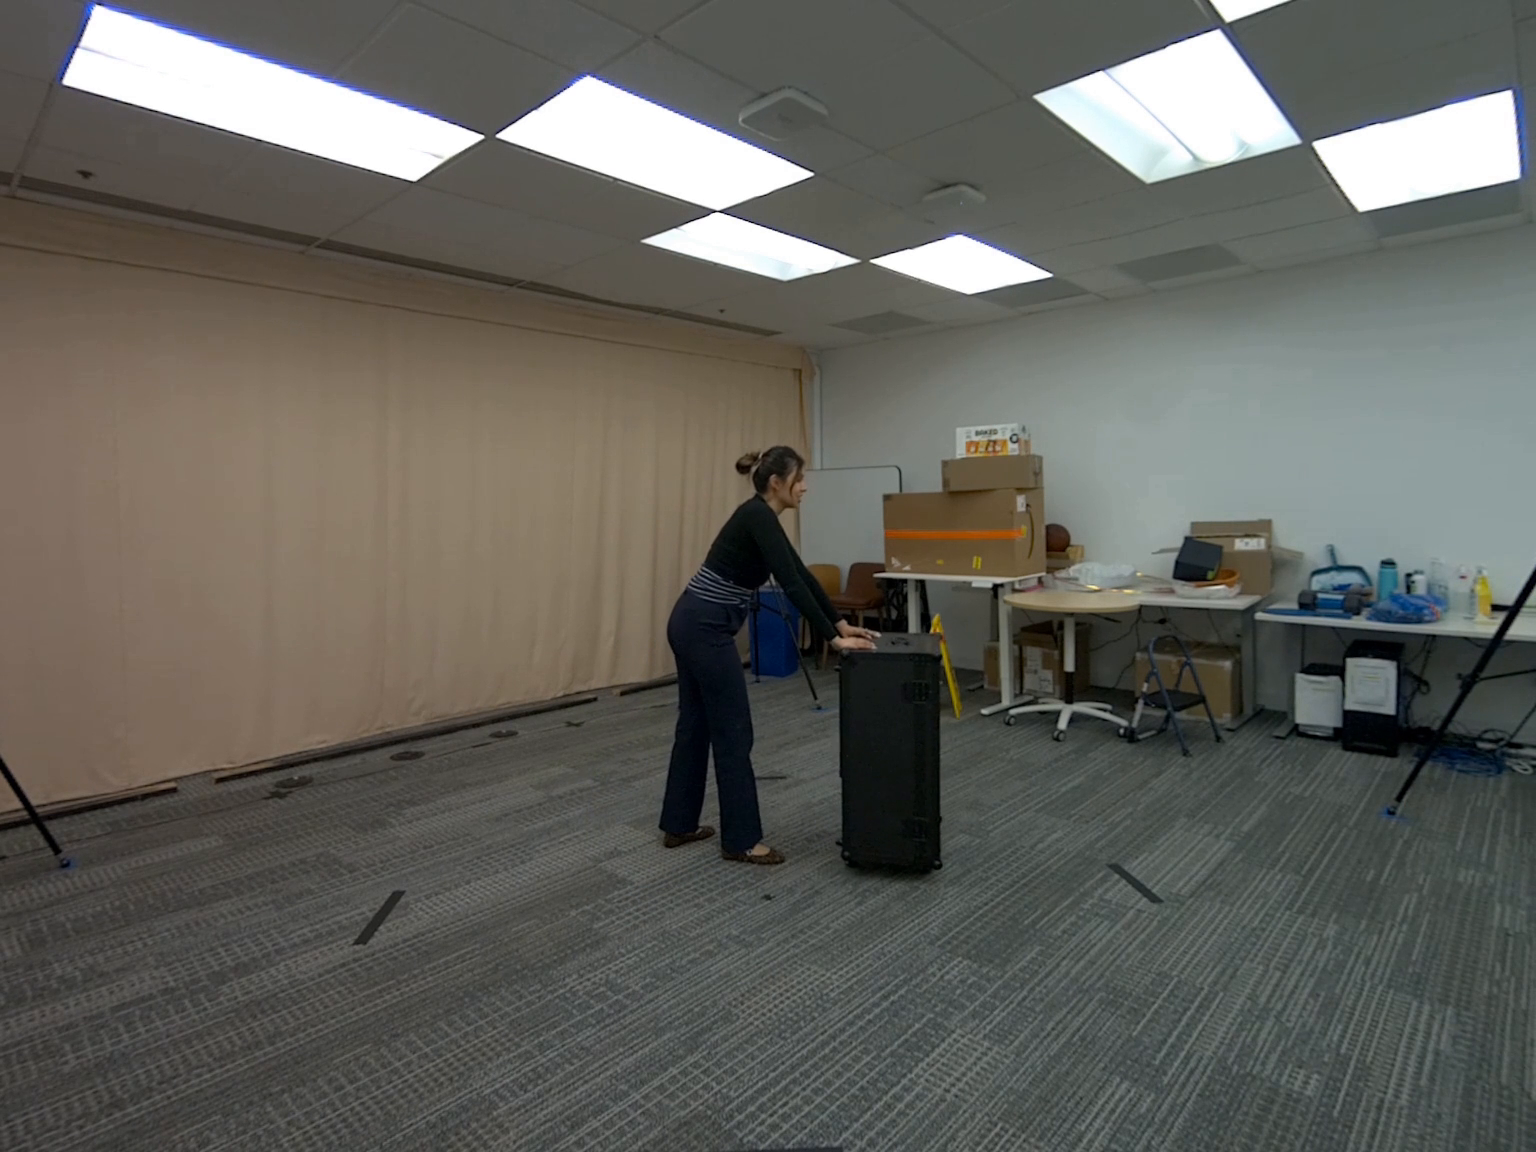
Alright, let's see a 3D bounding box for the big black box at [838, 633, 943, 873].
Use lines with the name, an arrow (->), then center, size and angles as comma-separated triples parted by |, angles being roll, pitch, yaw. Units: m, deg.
big black box -> 0.480, 0.683, 3.277 | 0.402, 0.860, 0.515 | -1, 3, 13
